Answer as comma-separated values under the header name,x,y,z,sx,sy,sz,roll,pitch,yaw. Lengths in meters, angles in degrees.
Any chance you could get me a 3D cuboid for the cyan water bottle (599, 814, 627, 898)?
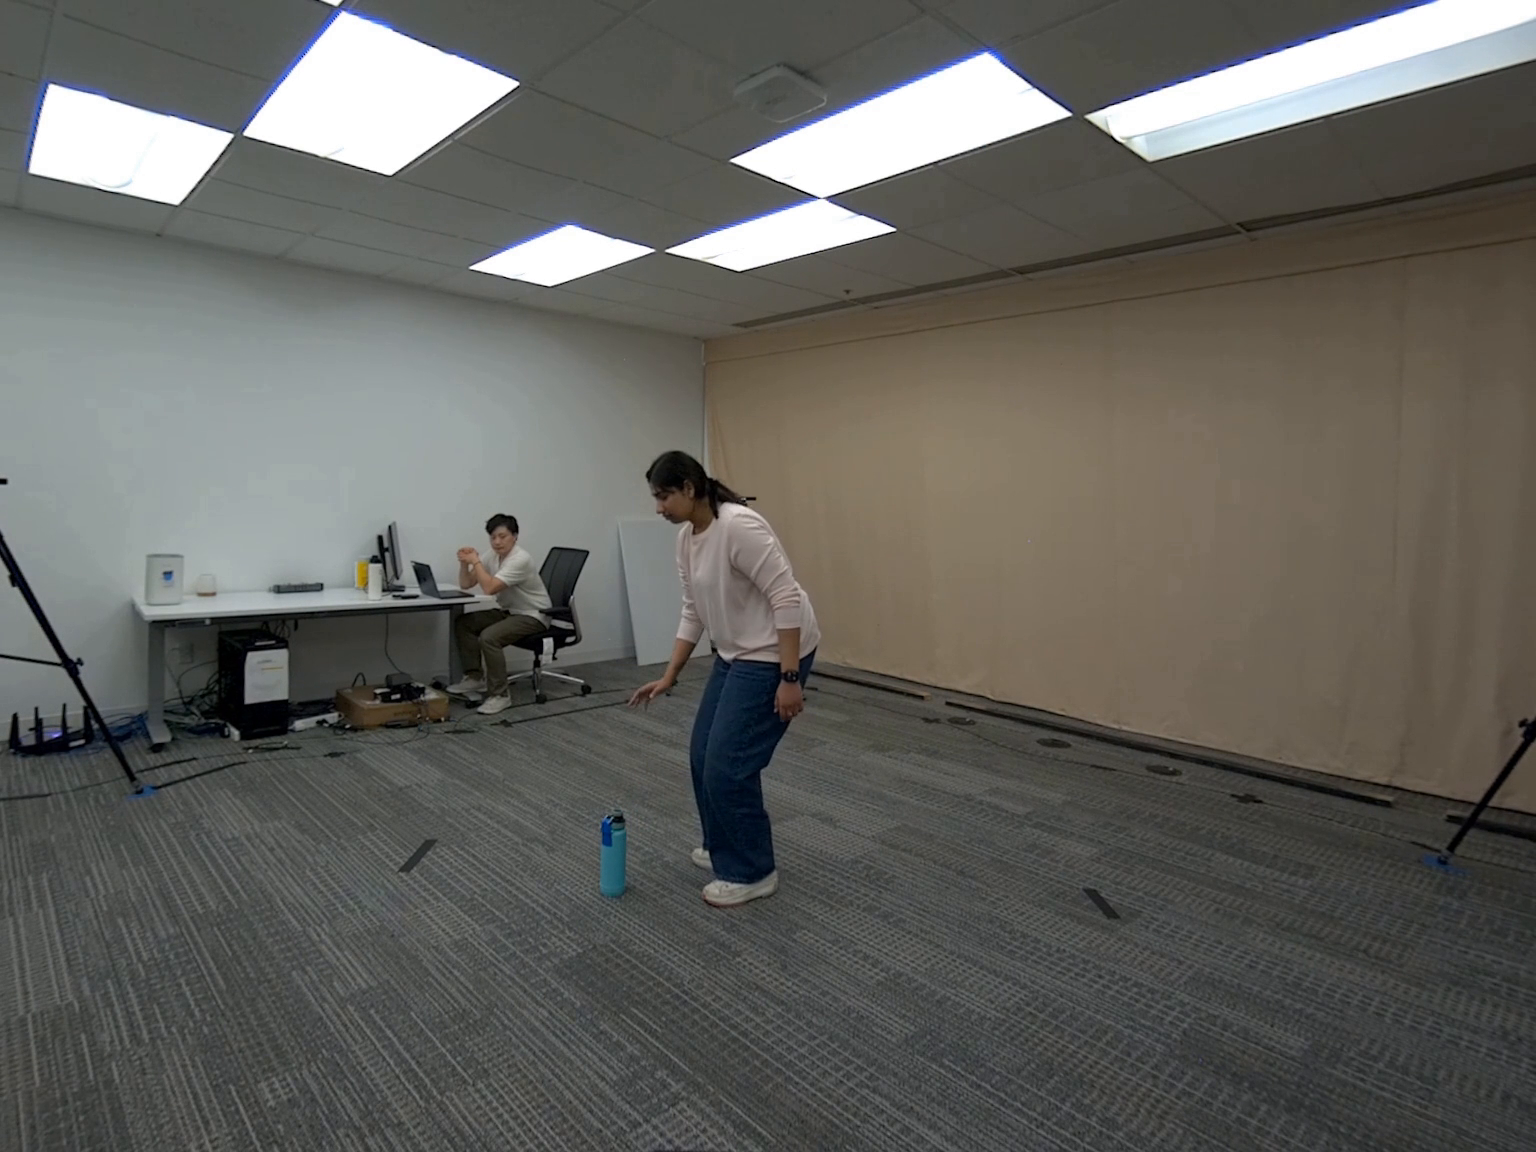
name,x,y,z,sx,sy,sz,roll,pitch,yaw
cyan water bottle,-0.545,0.966,2.961,0.092,0.283,0.092,2,4,-2
